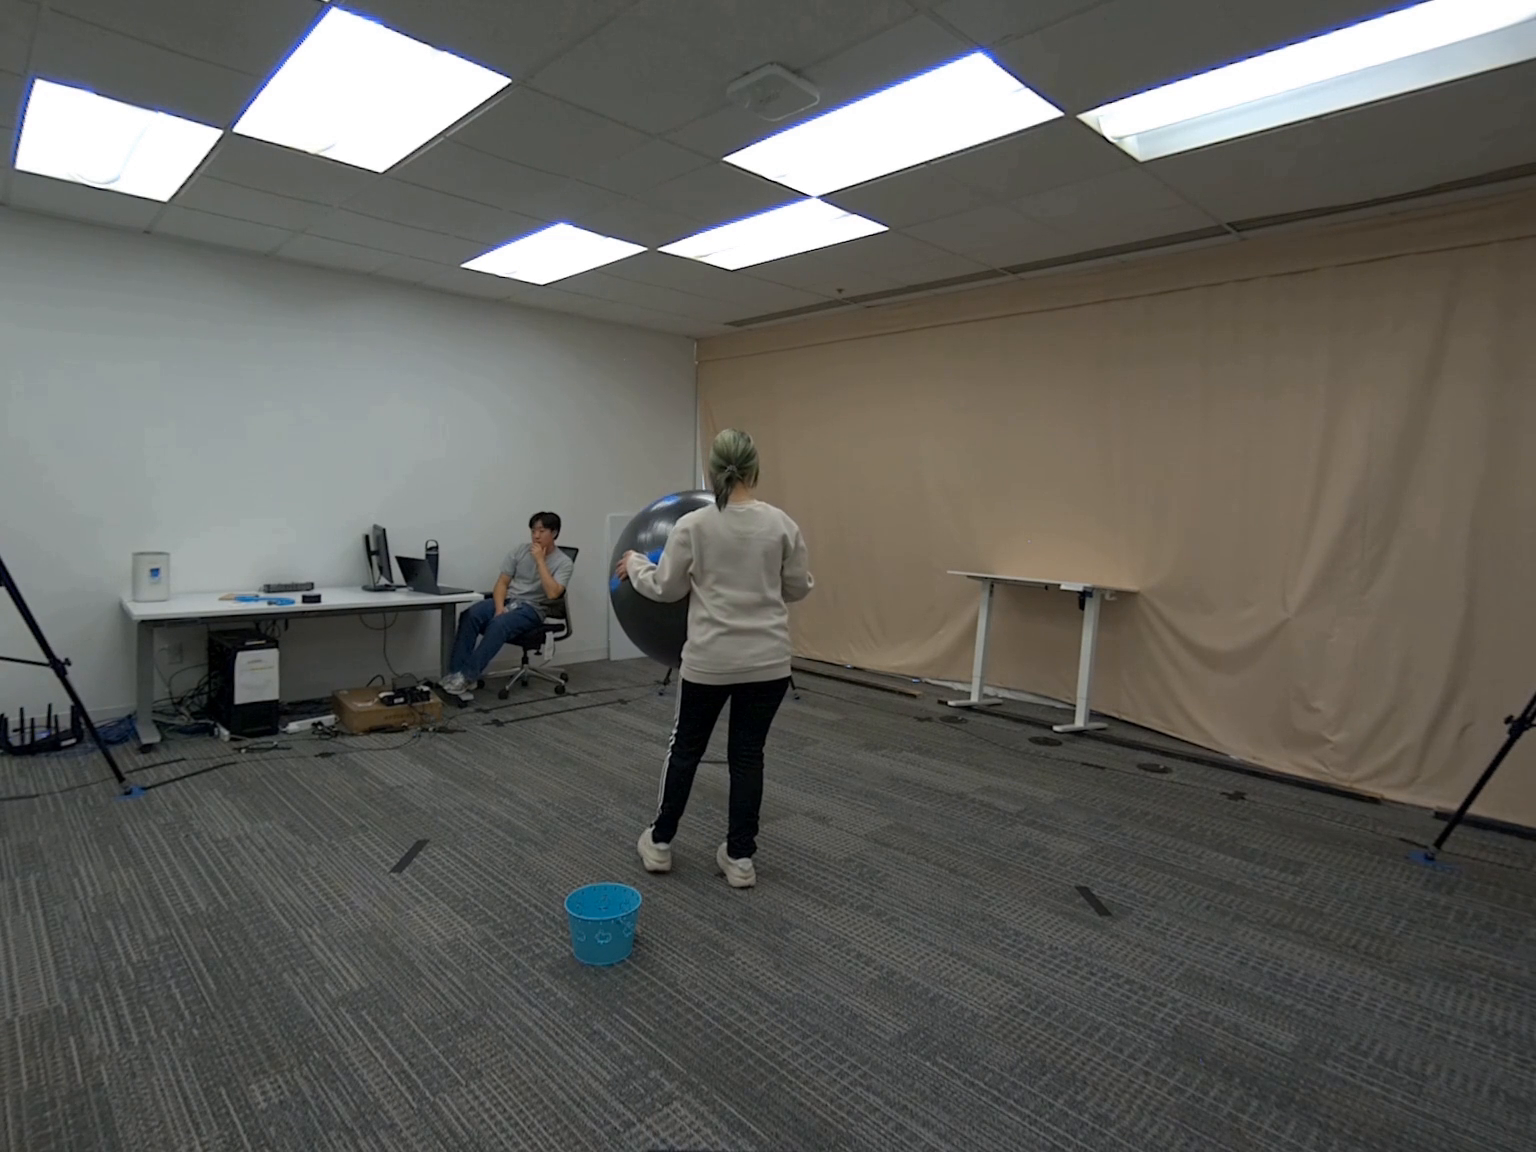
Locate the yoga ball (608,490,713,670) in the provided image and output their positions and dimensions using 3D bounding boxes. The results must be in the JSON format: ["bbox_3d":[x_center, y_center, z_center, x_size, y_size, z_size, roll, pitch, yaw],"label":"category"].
[{"bbox_3d":[-0.302,0.027,3.554,0.757,0.756,0.761,1,4,-1],"label":"yoga ball"}]
